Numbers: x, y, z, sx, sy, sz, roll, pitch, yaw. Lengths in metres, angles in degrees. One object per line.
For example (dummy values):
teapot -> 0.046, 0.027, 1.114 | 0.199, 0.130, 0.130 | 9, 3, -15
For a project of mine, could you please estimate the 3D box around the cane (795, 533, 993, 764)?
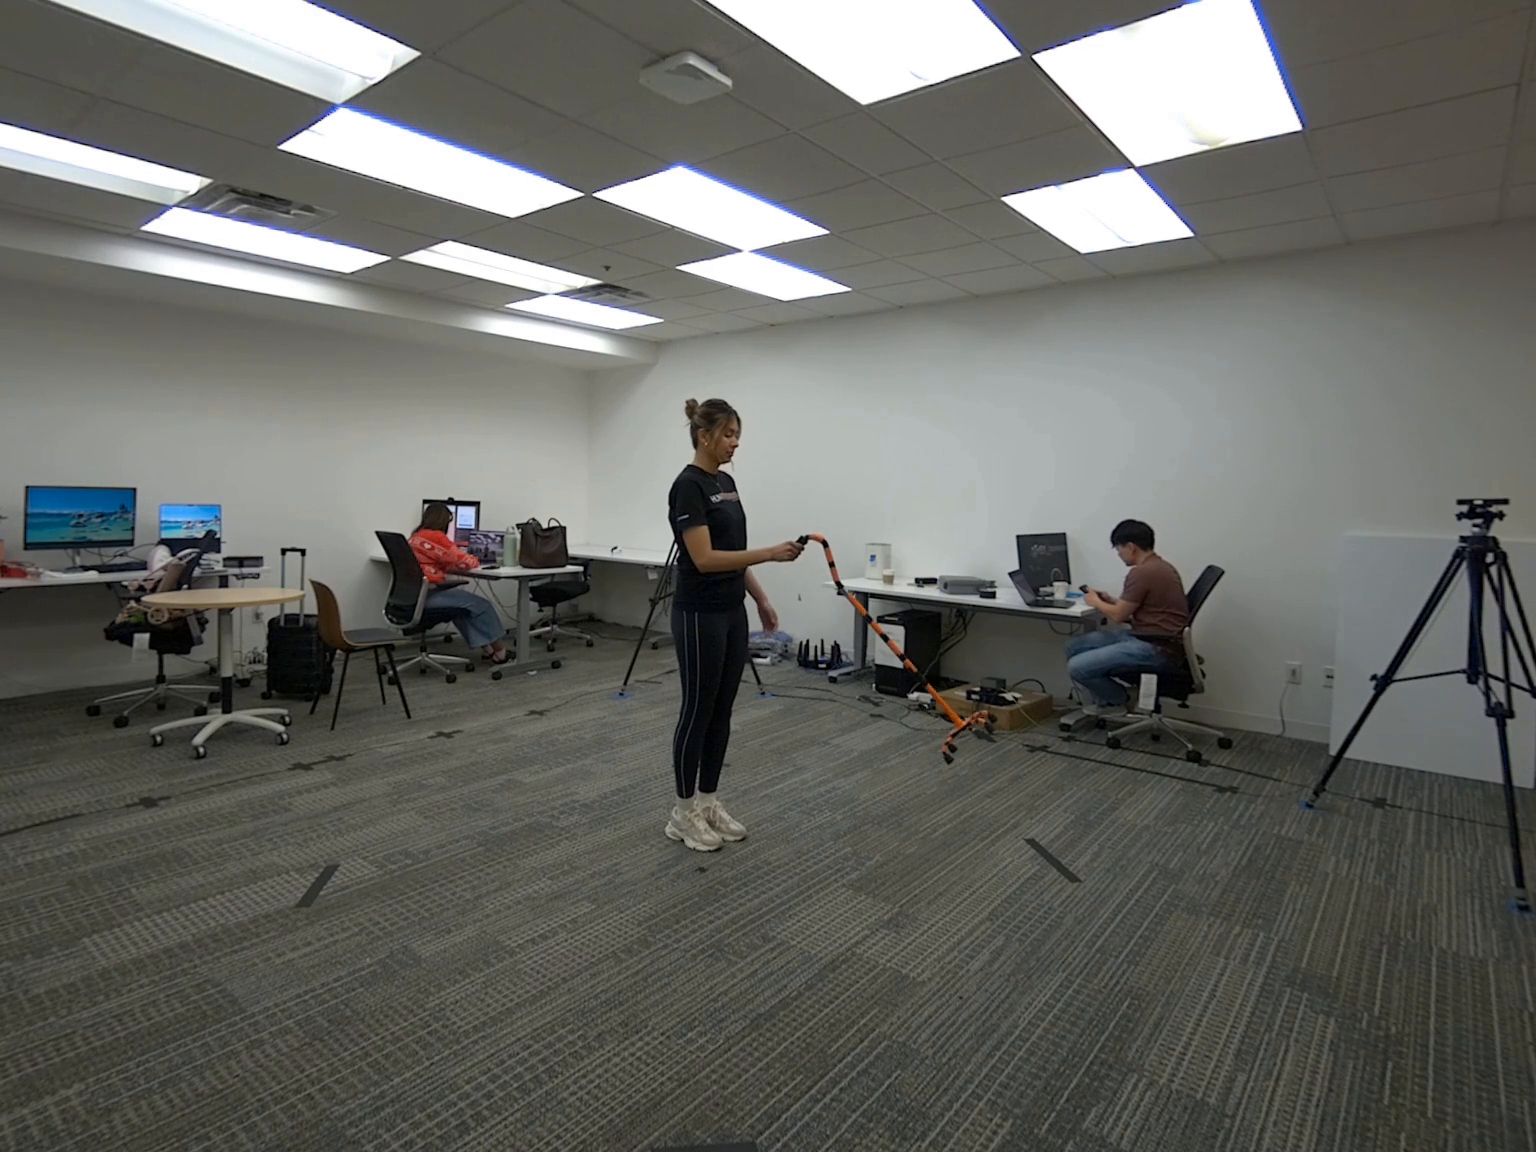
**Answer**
cane -> 0.391, 0.222, 2.955 | 0.207, 0.920, 0.149 | -42, -9, 18
